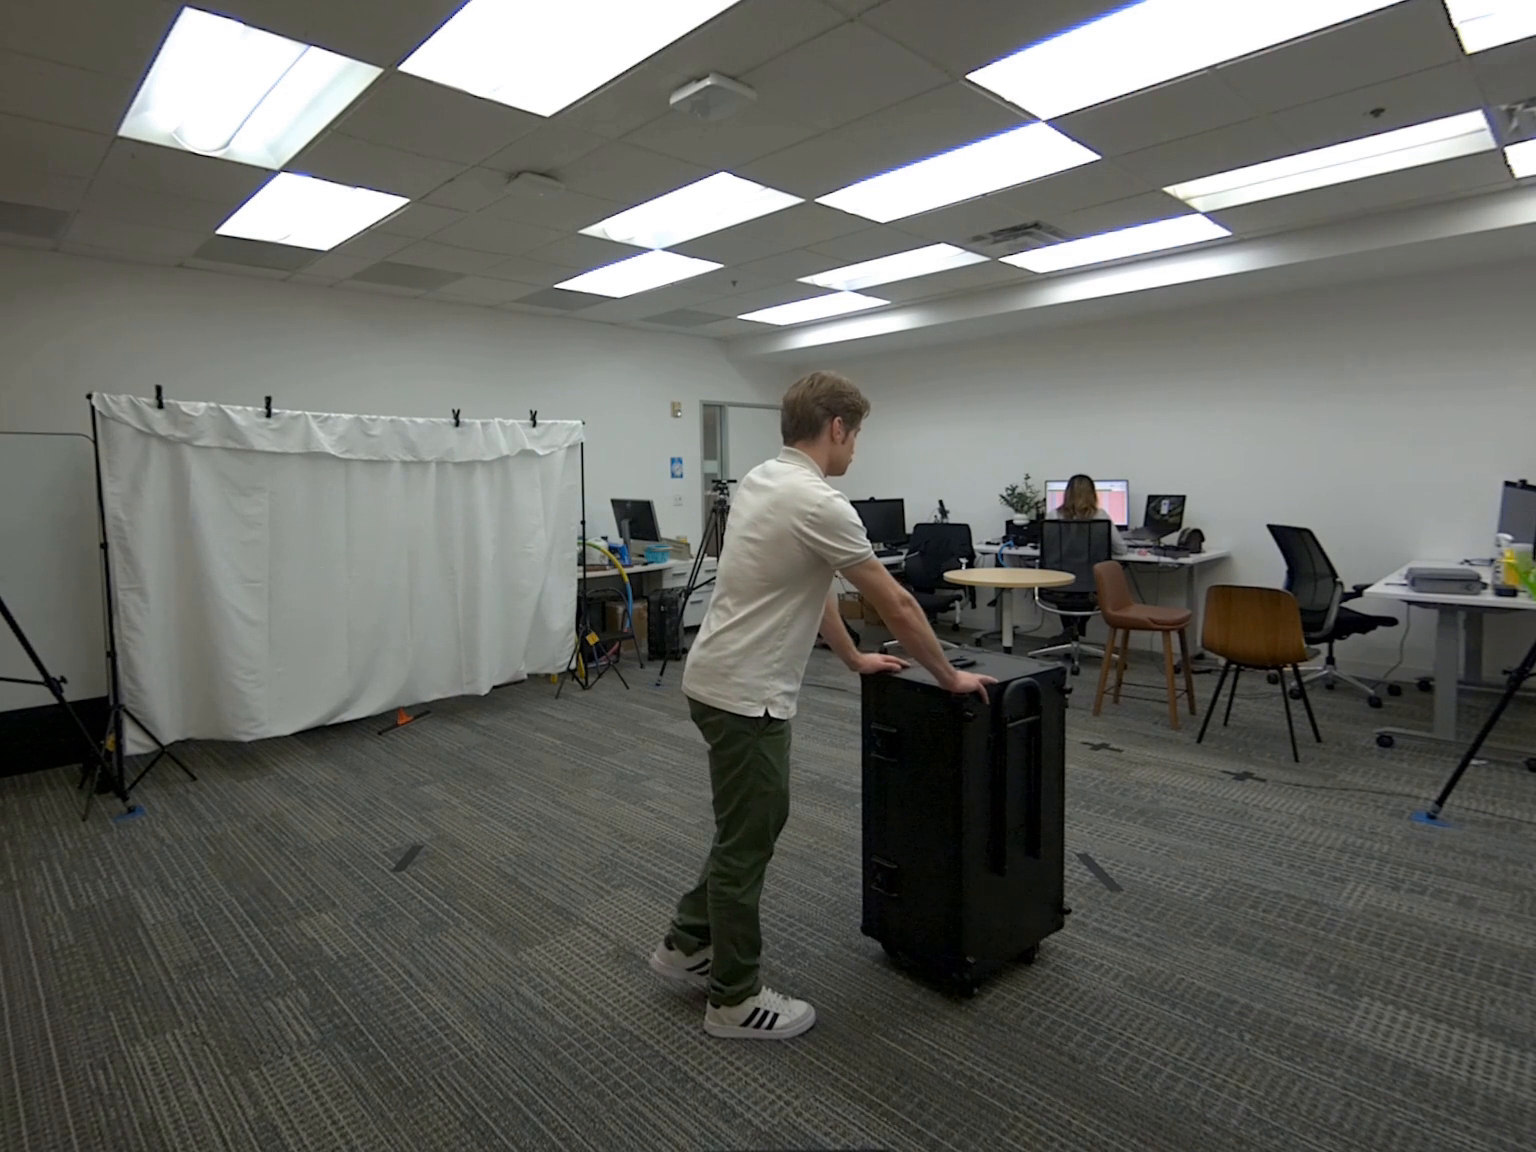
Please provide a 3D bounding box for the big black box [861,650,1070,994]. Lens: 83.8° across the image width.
[{"bbox_3d":[0.578,0.684,2.478,0.510,0.865,0.397,-5,5,-39],"label":"big black box"}]
